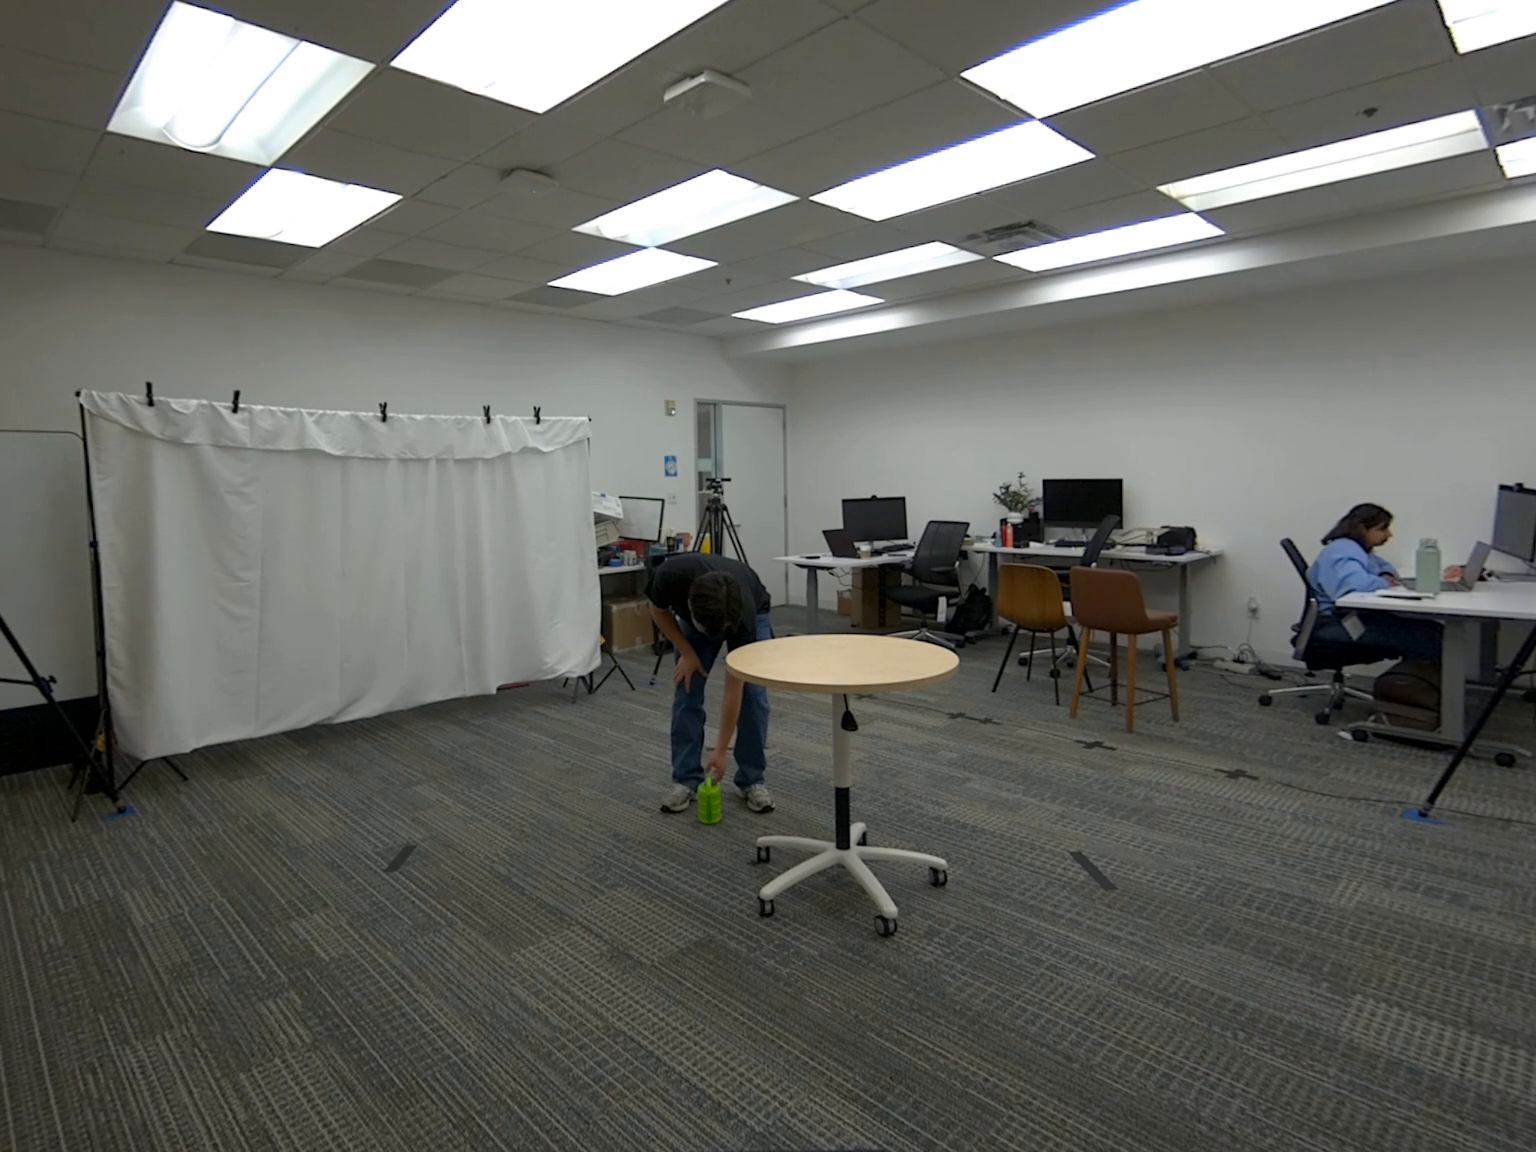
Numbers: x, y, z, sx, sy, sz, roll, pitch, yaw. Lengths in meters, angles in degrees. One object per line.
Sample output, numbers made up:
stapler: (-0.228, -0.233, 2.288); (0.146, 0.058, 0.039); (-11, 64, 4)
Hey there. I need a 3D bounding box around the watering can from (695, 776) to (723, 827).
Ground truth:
watering can: (-0.242, 0.915, 3.472); (0.099, 0.176, 0.276); (-2, 4, 11)
